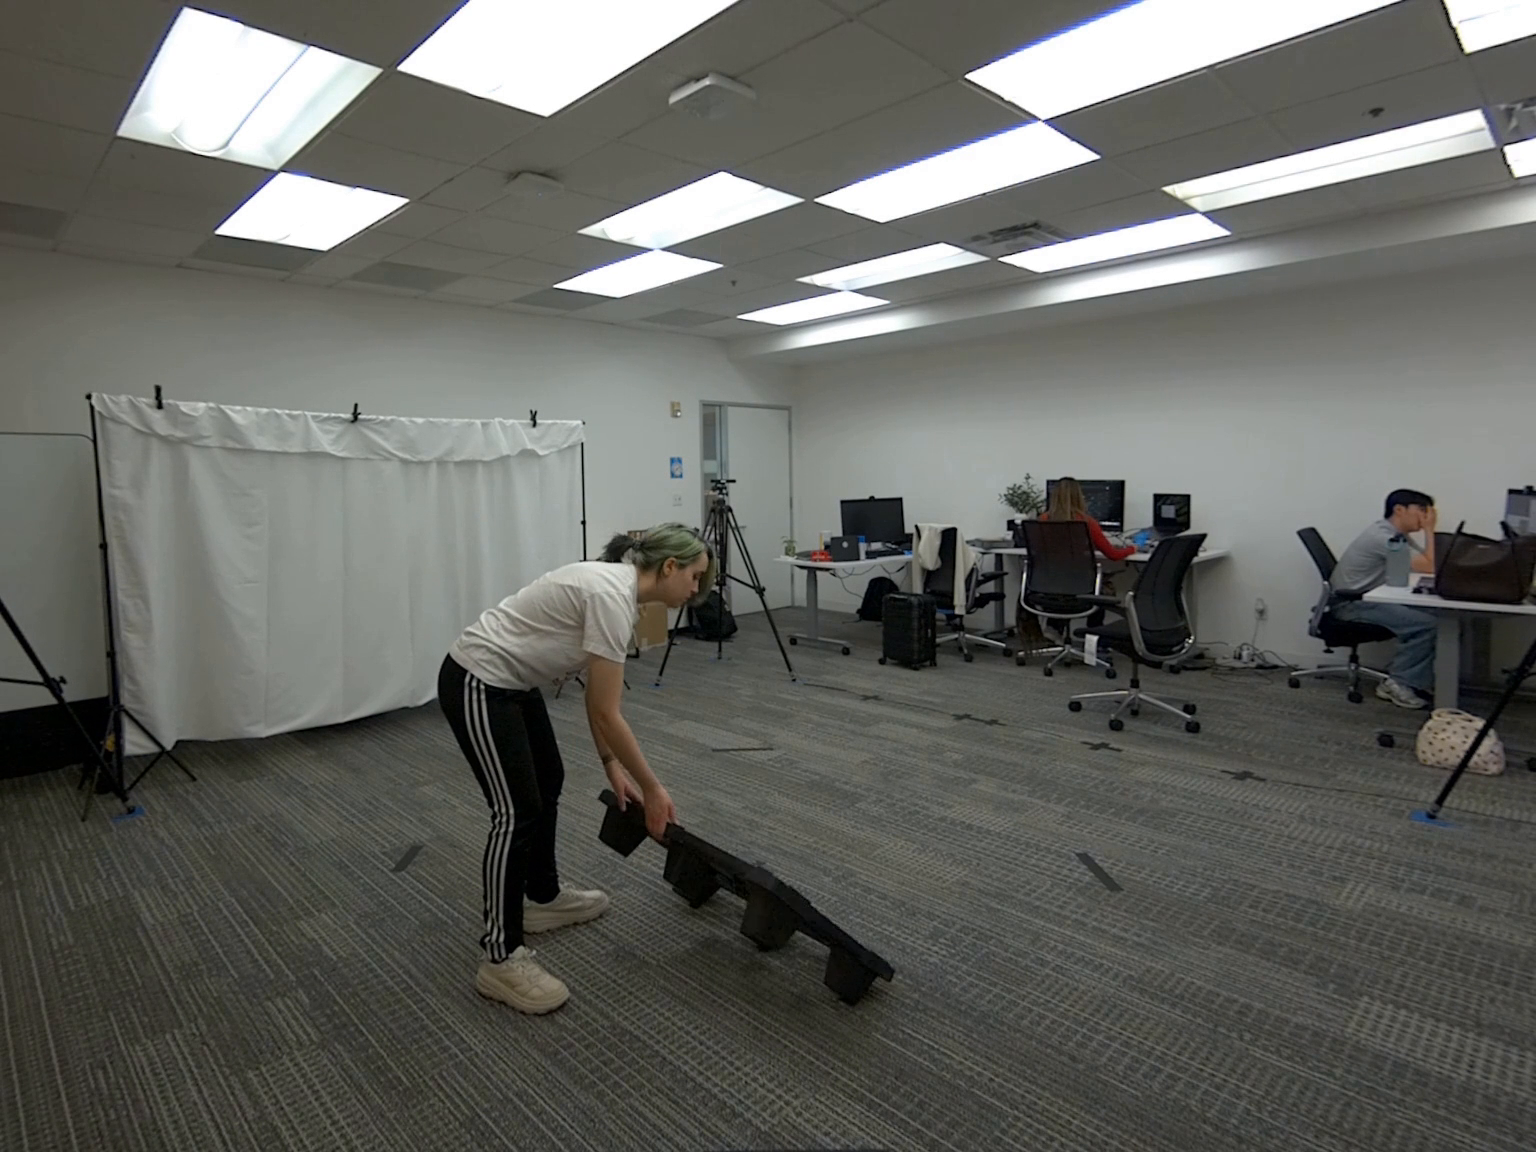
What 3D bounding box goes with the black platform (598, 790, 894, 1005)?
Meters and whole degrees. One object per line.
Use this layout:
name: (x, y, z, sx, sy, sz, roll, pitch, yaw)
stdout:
black platform: (-0.108, 0.921, 2.460, 0.830, 0.144, 0.584, 6, -35, 49)
